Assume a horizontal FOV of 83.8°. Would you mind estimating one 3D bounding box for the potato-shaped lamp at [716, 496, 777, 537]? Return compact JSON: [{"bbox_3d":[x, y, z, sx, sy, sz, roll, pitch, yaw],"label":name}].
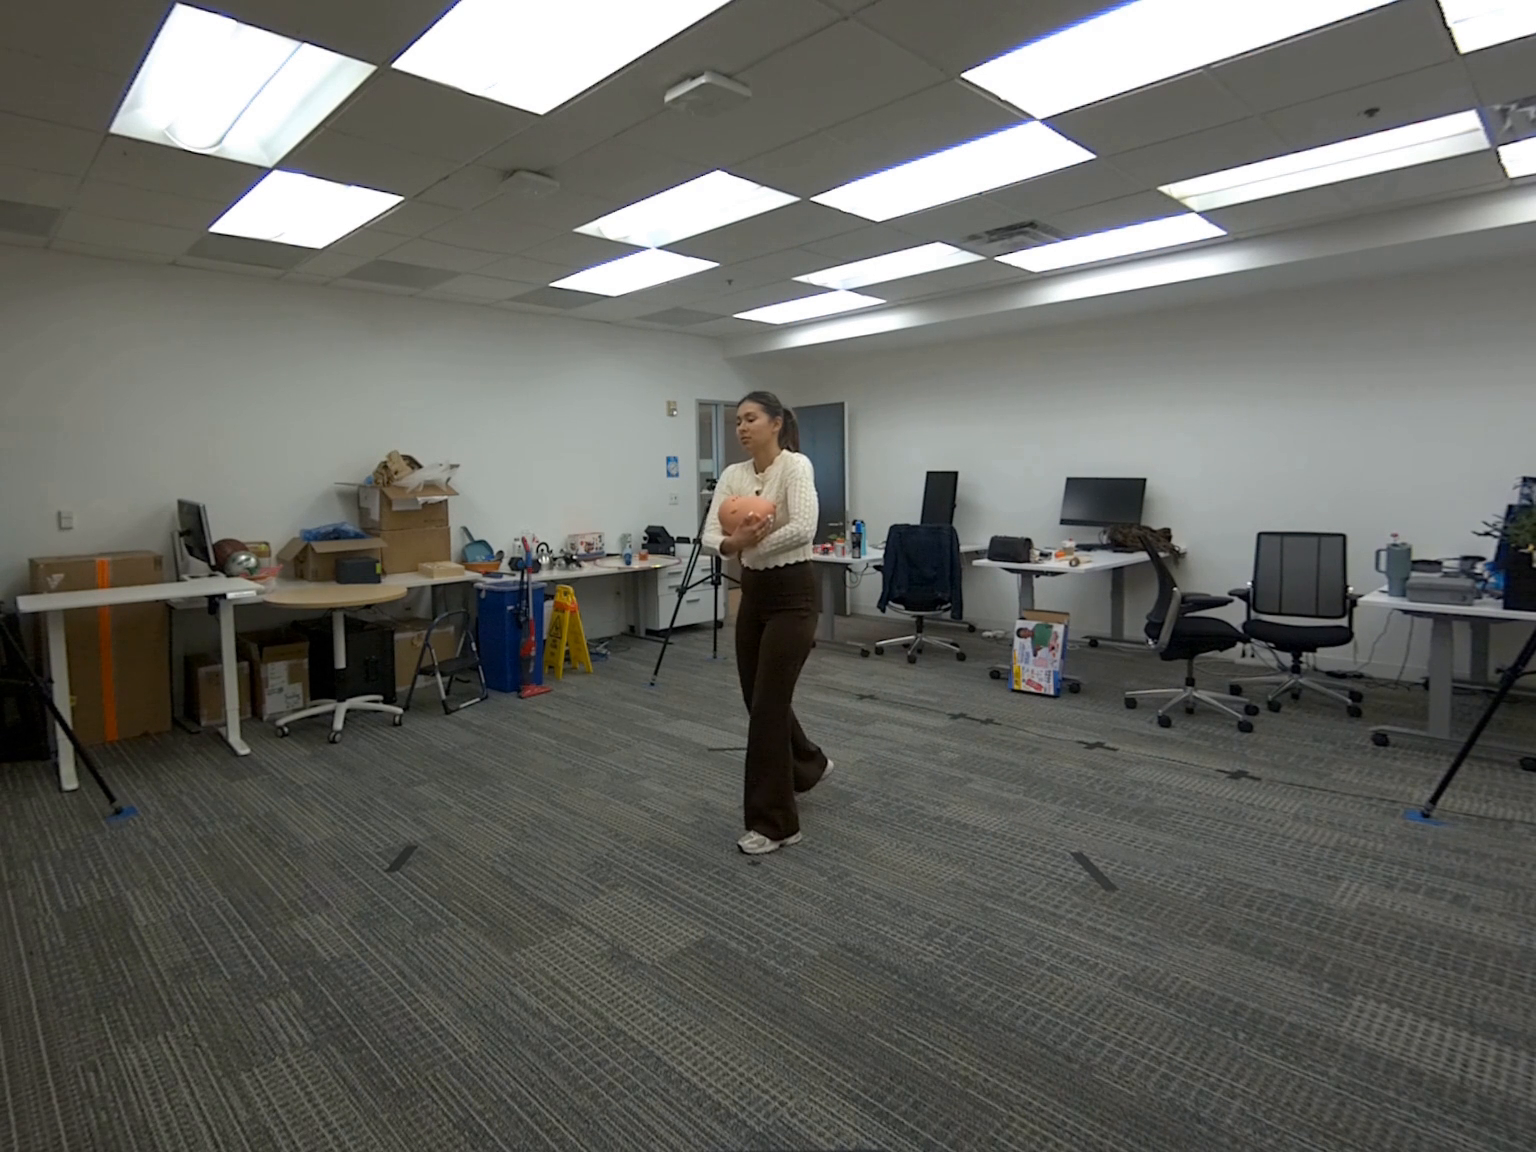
[{"bbox_3d":[-0.083,-0.201,3.018,0.205,0.167,0.163,32,43,30],"label":"potato-shaped lamp"}]
